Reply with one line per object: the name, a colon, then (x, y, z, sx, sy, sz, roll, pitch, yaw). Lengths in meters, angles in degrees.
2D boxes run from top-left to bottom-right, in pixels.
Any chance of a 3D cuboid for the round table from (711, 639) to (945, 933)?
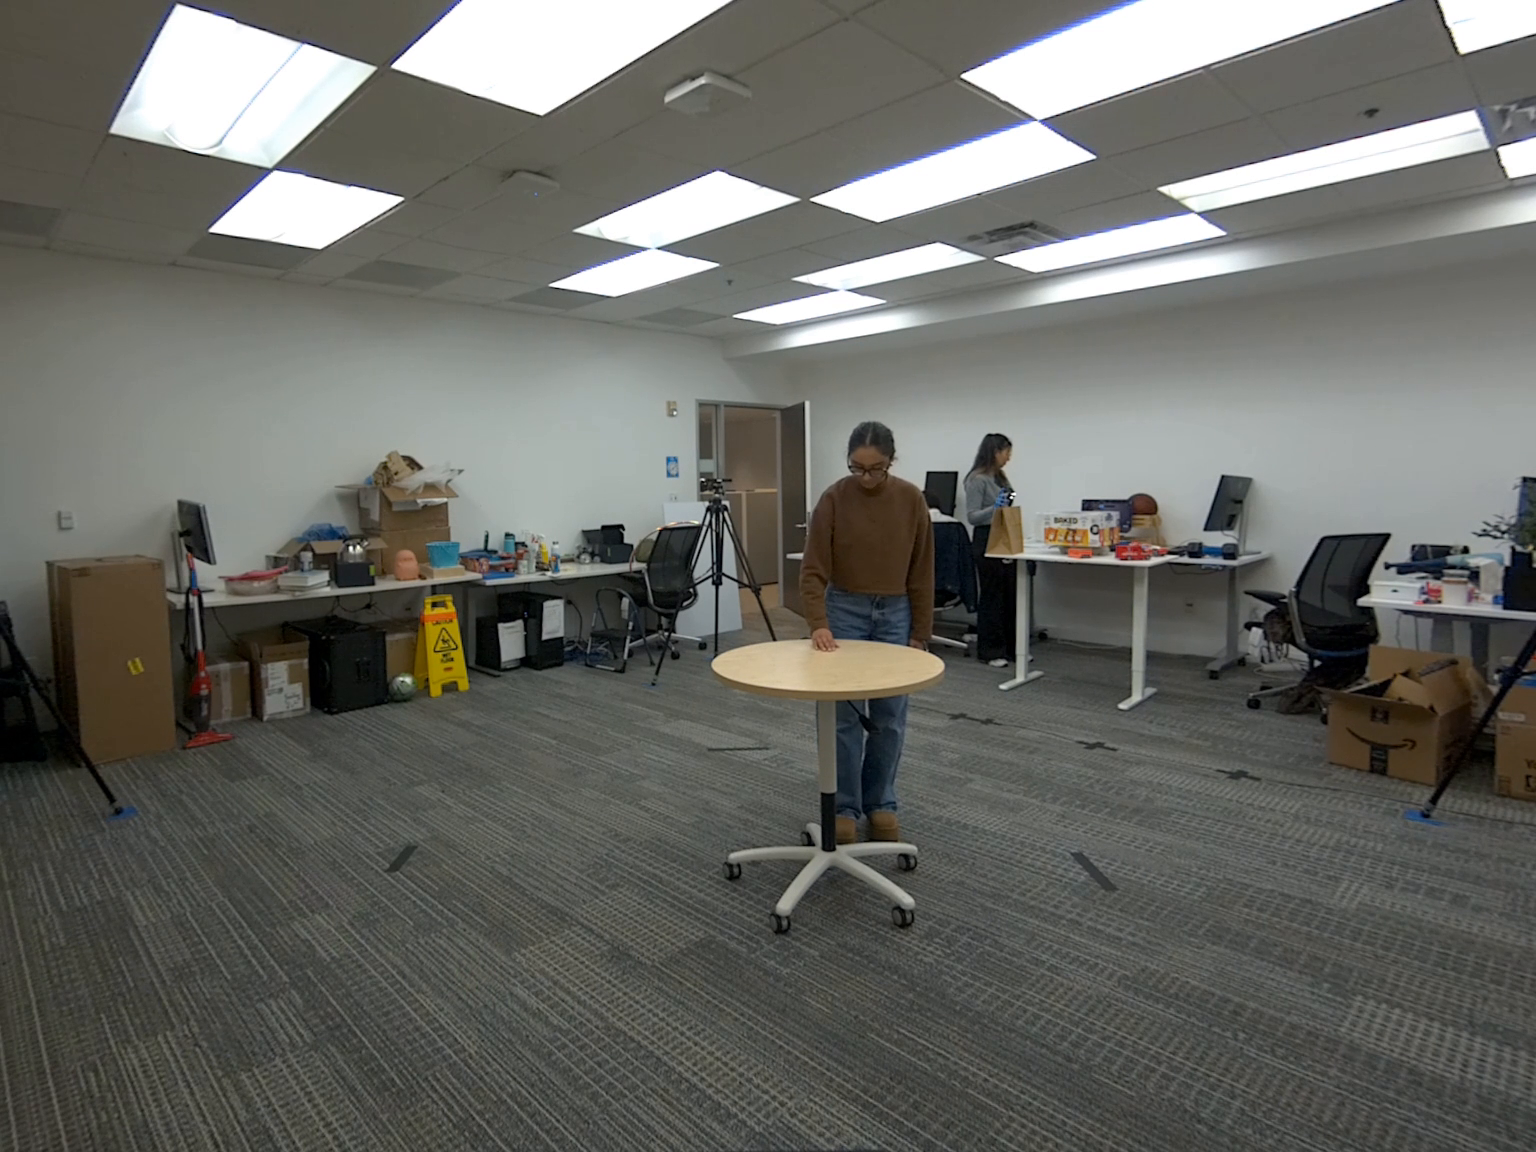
round table: (0.205, 0.680, 2.872, 0.763, 0.791, 0.768, -1, 5, -2)
